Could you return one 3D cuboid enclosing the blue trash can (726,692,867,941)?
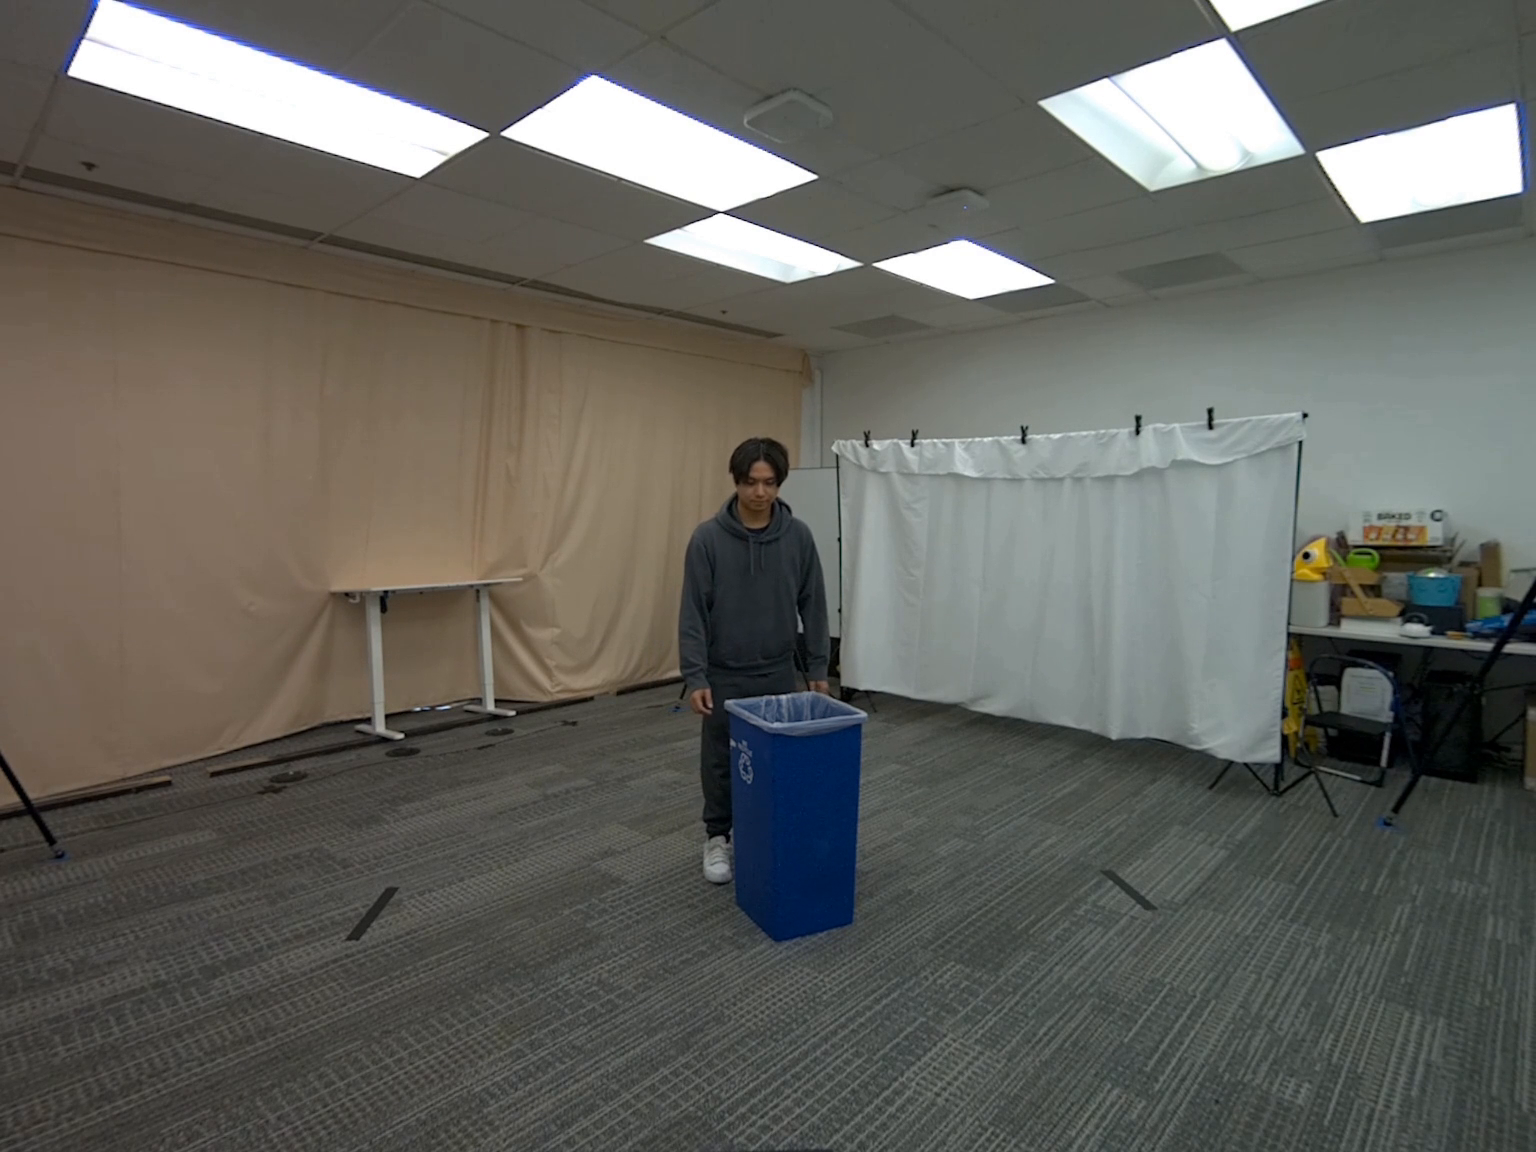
[{"bbox_3d":[0.094,0.794,2.858,0.369,0.712,0.384,-2,4,-26],"label":"blue trash can"}]
